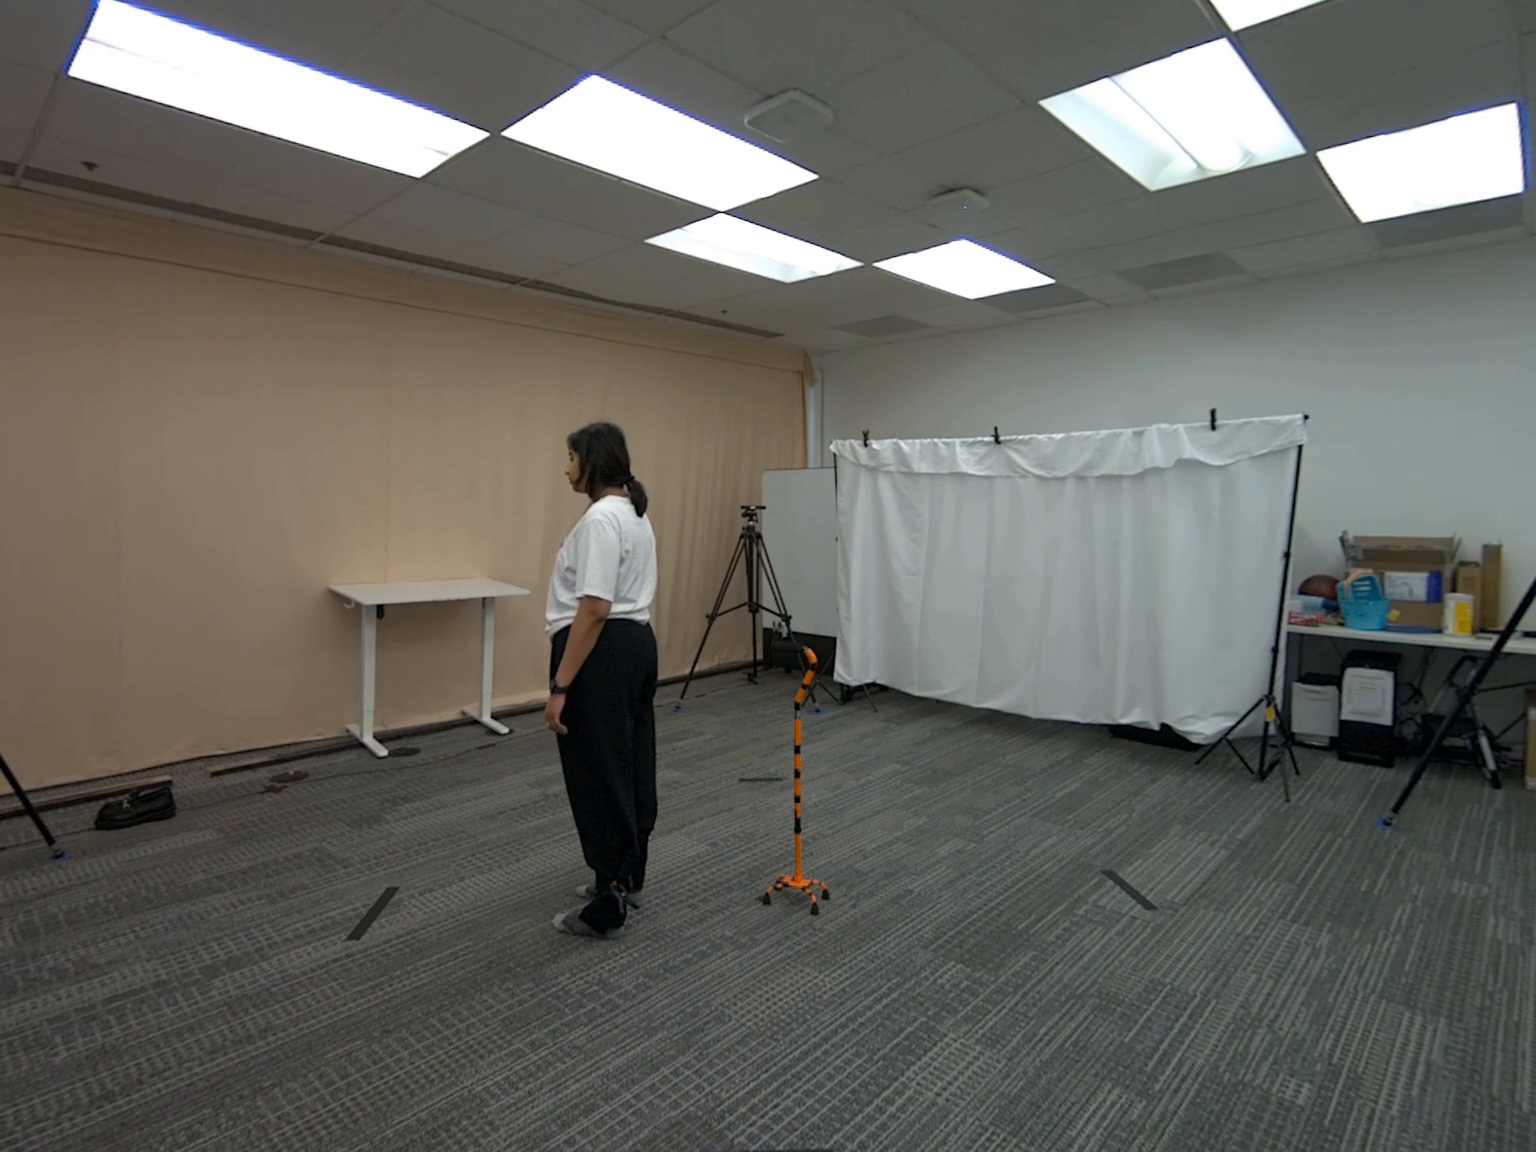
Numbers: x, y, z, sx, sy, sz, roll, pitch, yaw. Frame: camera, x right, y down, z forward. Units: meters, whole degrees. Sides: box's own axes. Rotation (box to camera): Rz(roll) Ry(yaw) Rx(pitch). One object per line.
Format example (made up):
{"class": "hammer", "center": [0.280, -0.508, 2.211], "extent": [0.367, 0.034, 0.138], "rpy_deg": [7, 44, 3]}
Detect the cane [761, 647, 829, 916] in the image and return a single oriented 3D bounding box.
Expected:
{"class": "cane", "center": [0.110, 0.694, 2.934], "extent": [0.211, 0.906, 0.148], "rpy_deg": [2, 4, 23]}
